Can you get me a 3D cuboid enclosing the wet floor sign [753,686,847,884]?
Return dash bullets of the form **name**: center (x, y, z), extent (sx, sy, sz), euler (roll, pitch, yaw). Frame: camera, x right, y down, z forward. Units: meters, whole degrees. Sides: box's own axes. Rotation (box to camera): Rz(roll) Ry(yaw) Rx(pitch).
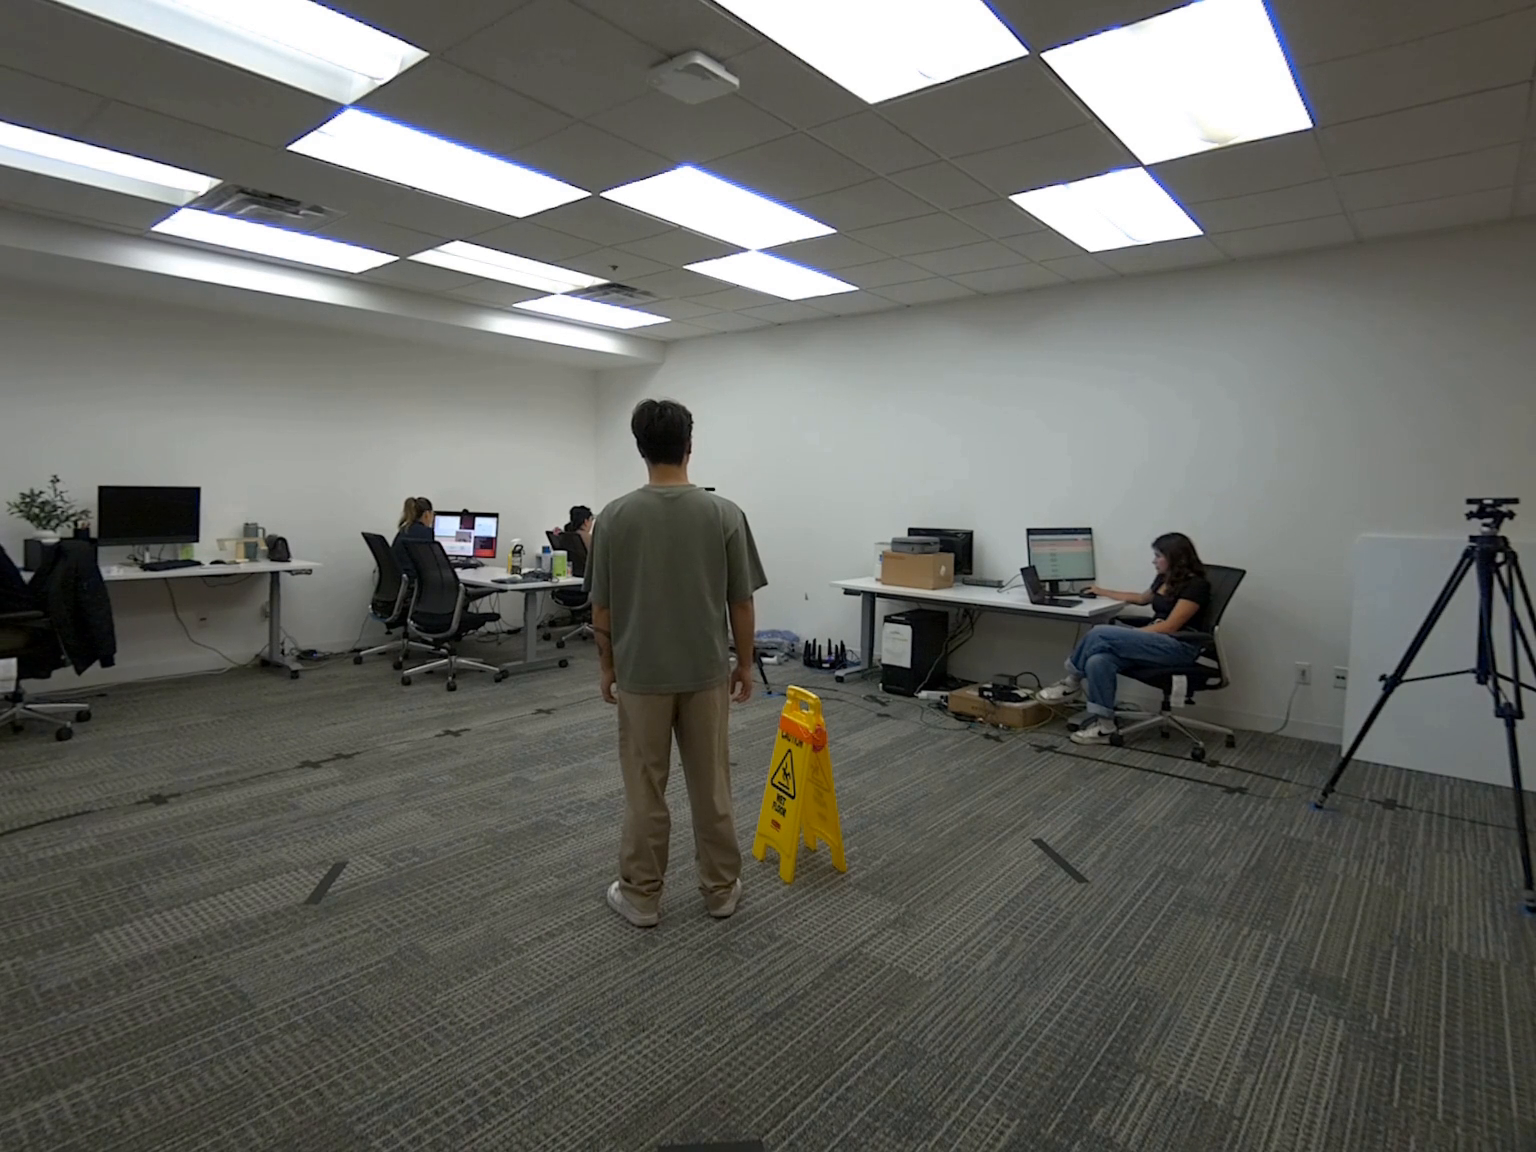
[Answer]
- **wet floor sign**: center (0.112, 0.740, 3.155), extent (0.282, 0.645, 0.290), euler (0, 3, -28)
